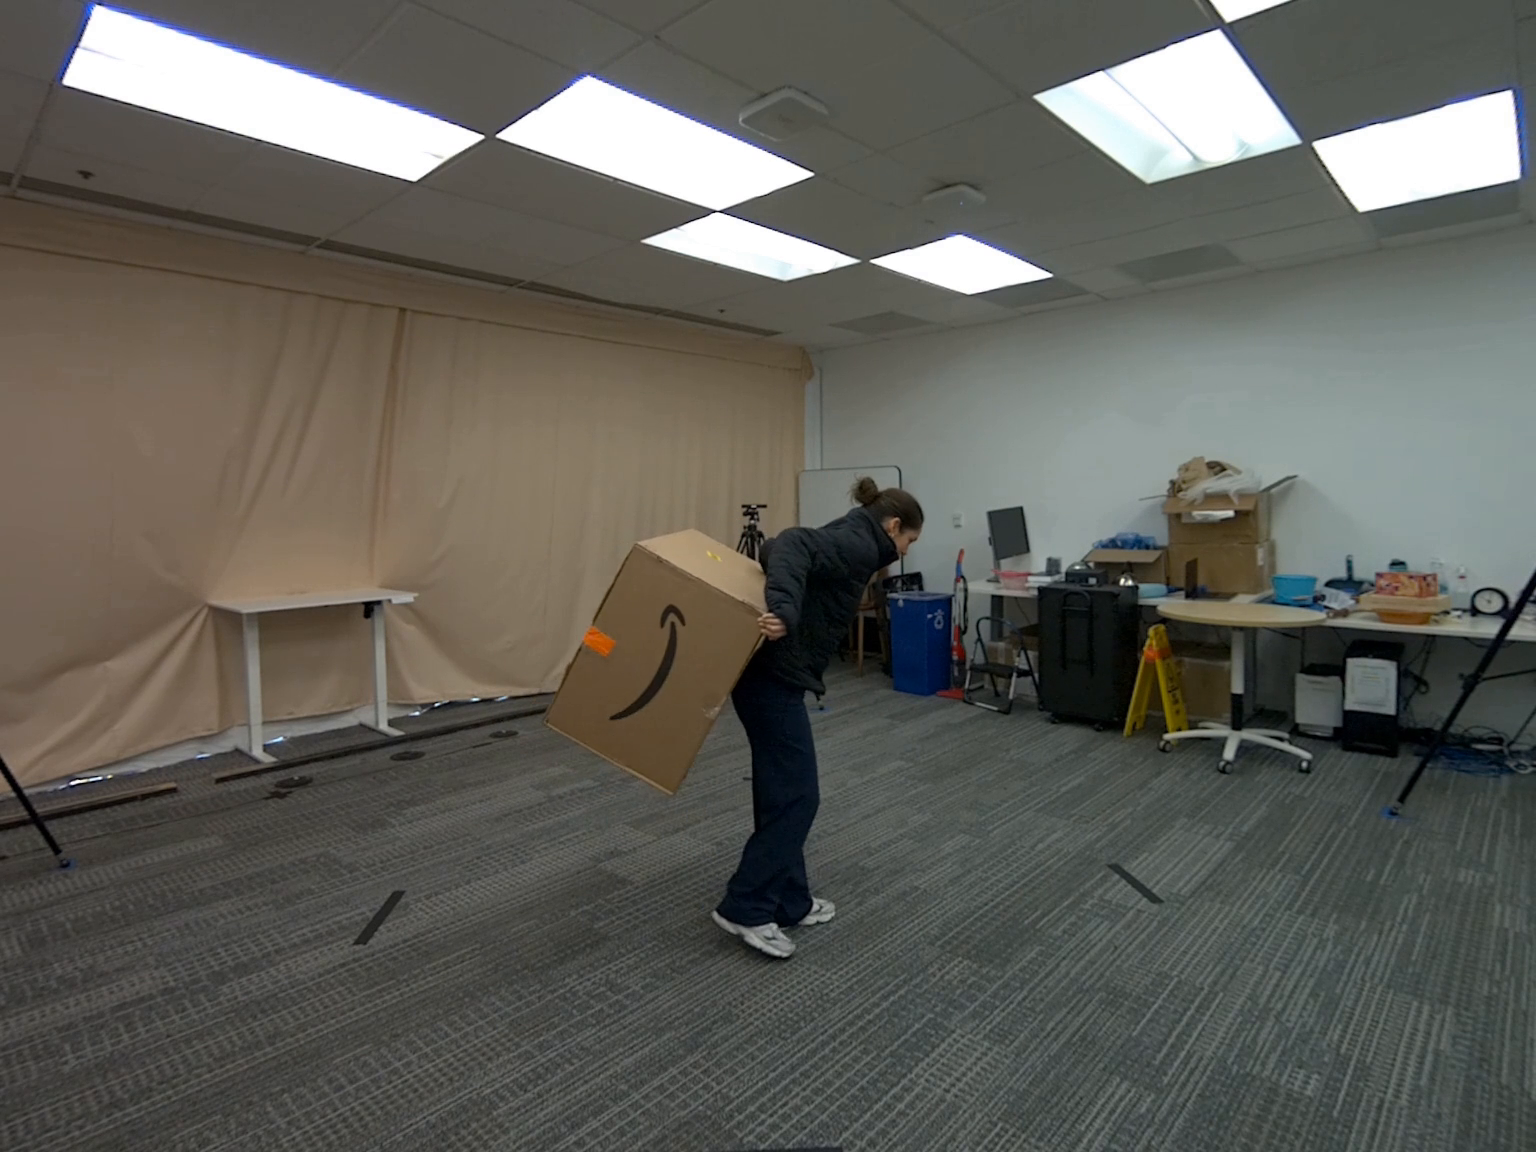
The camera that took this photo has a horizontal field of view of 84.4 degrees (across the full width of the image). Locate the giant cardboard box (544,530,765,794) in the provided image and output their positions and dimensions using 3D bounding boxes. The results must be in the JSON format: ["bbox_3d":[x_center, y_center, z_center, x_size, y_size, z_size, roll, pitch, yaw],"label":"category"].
[{"bbox_3d":[-0.267,0.209,2.801,0.428,0.577,1.022,29,6,1],"label":"giant cardboard box"}]
